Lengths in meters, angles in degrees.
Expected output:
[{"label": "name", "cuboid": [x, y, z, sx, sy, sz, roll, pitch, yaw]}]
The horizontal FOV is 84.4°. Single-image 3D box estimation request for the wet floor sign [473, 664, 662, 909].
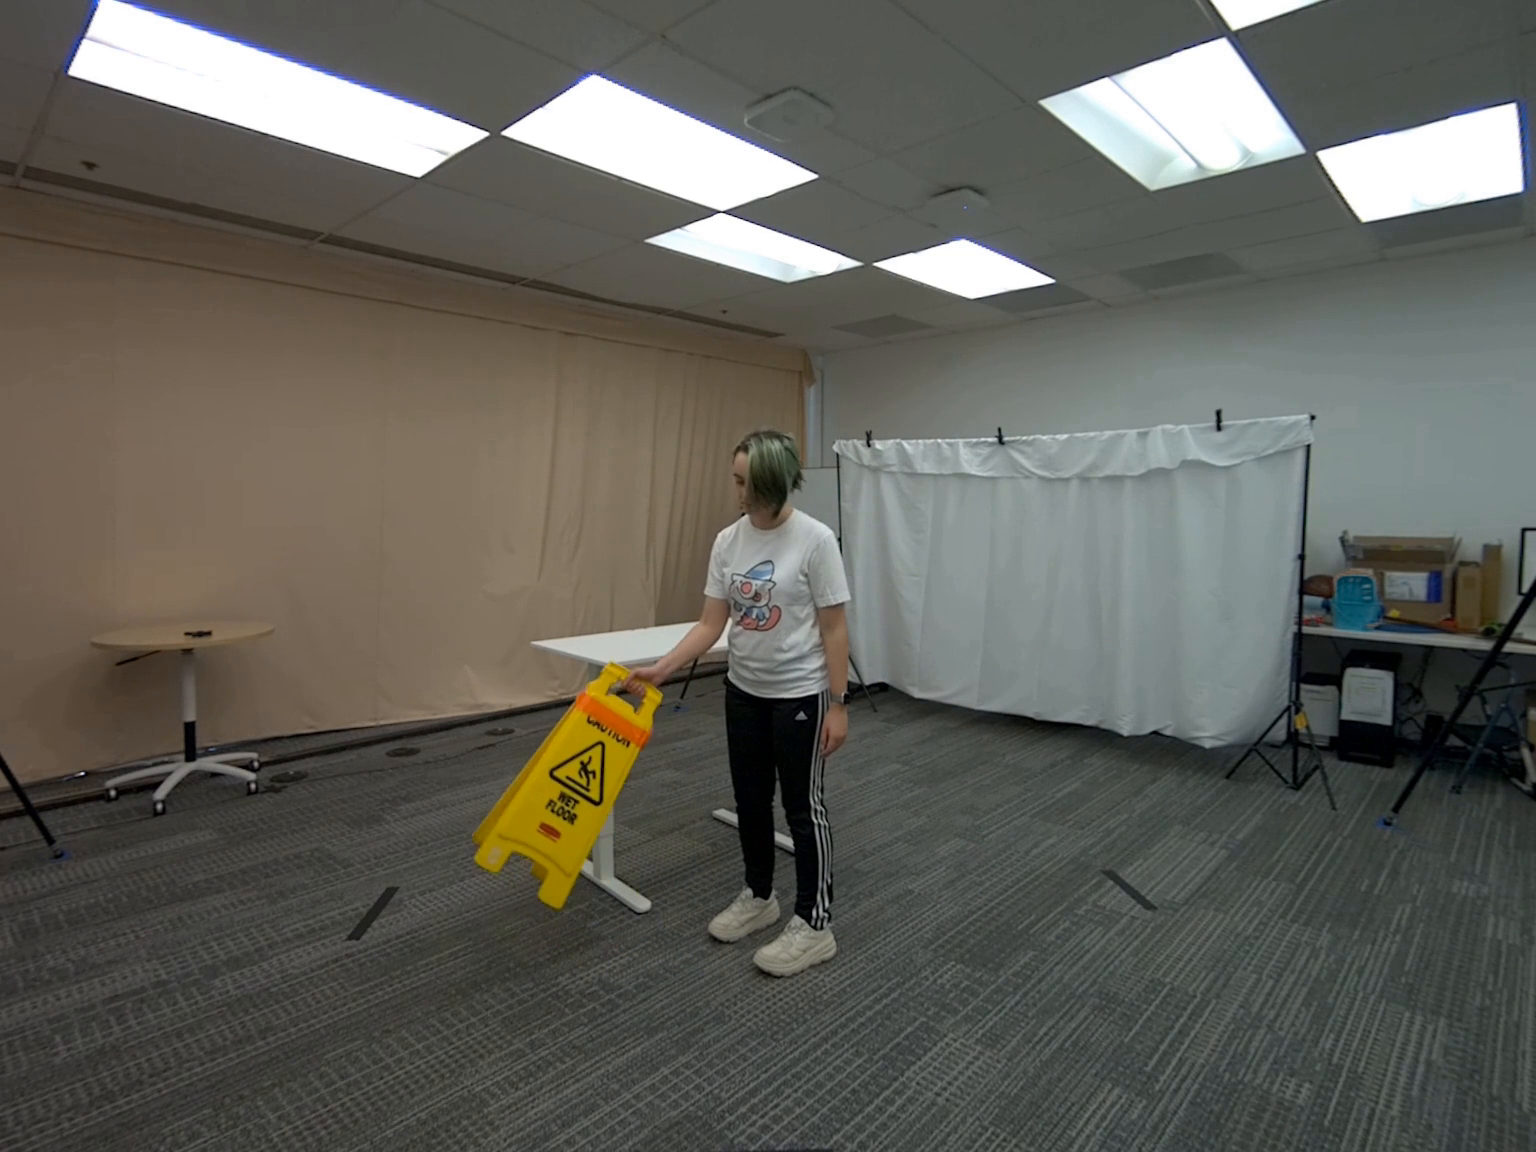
[{"label": "wet floor sign", "cuboid": [-0.557, 0.576, 2.465, 0.278, 0.646, 0.294, 34, -12, -14]}]
